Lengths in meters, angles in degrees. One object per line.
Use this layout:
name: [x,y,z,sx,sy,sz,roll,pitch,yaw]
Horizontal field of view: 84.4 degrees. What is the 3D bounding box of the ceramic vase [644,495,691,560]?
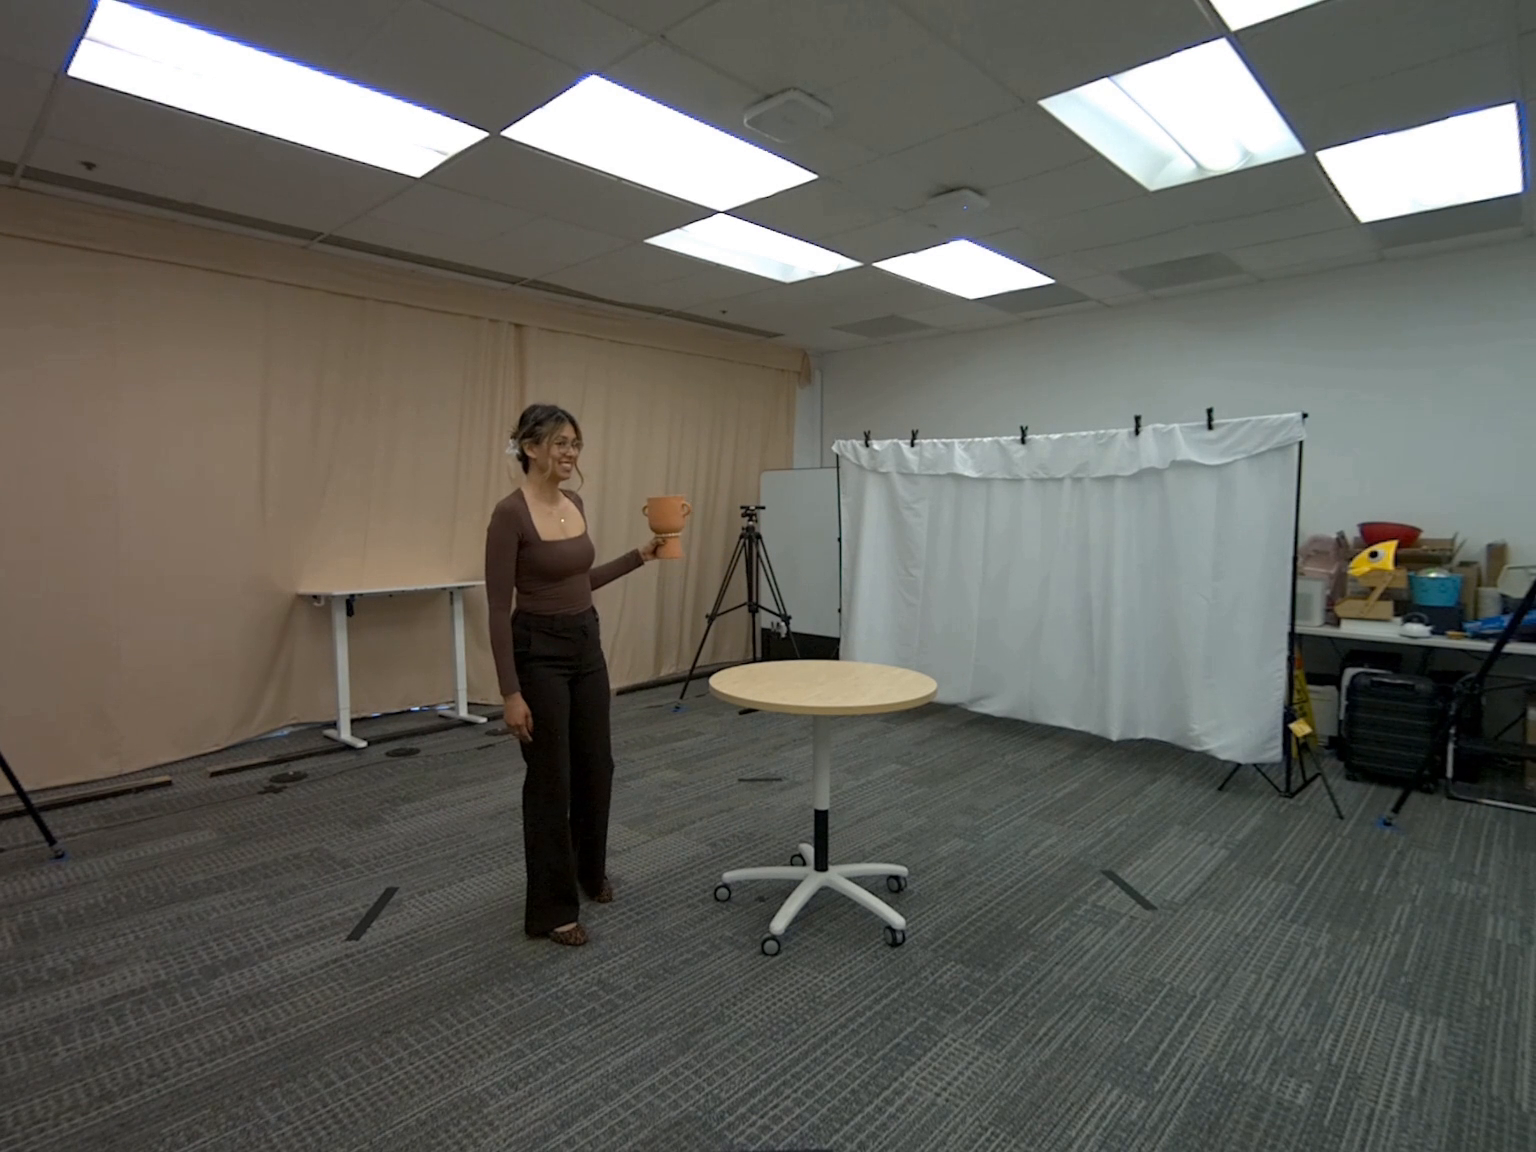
ceramic vase: [-0.359,-0.176,2.979,0.131,0.219,0.163,-5,5,-29]
